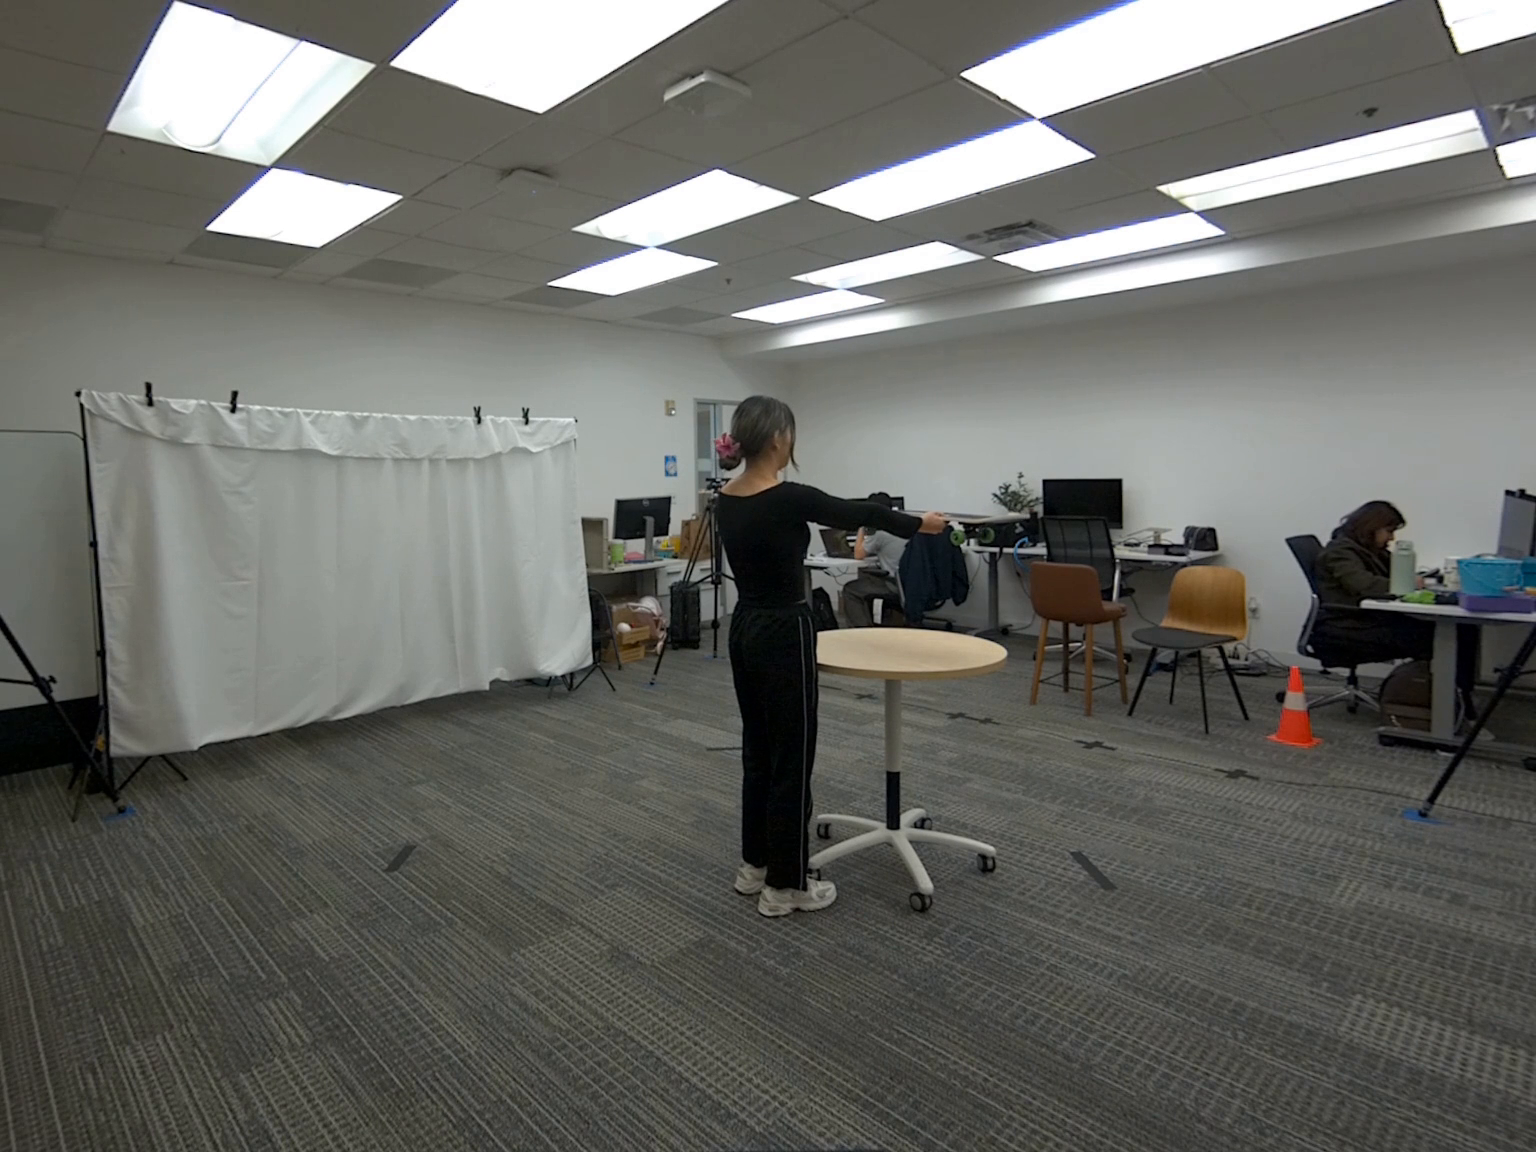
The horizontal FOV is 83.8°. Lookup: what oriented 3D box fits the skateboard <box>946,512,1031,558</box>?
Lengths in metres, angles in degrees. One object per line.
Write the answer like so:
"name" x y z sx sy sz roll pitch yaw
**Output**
"skateboard" 0.578 -0.188 3.026 0.188 0.110 0.810 -3 9 -36
